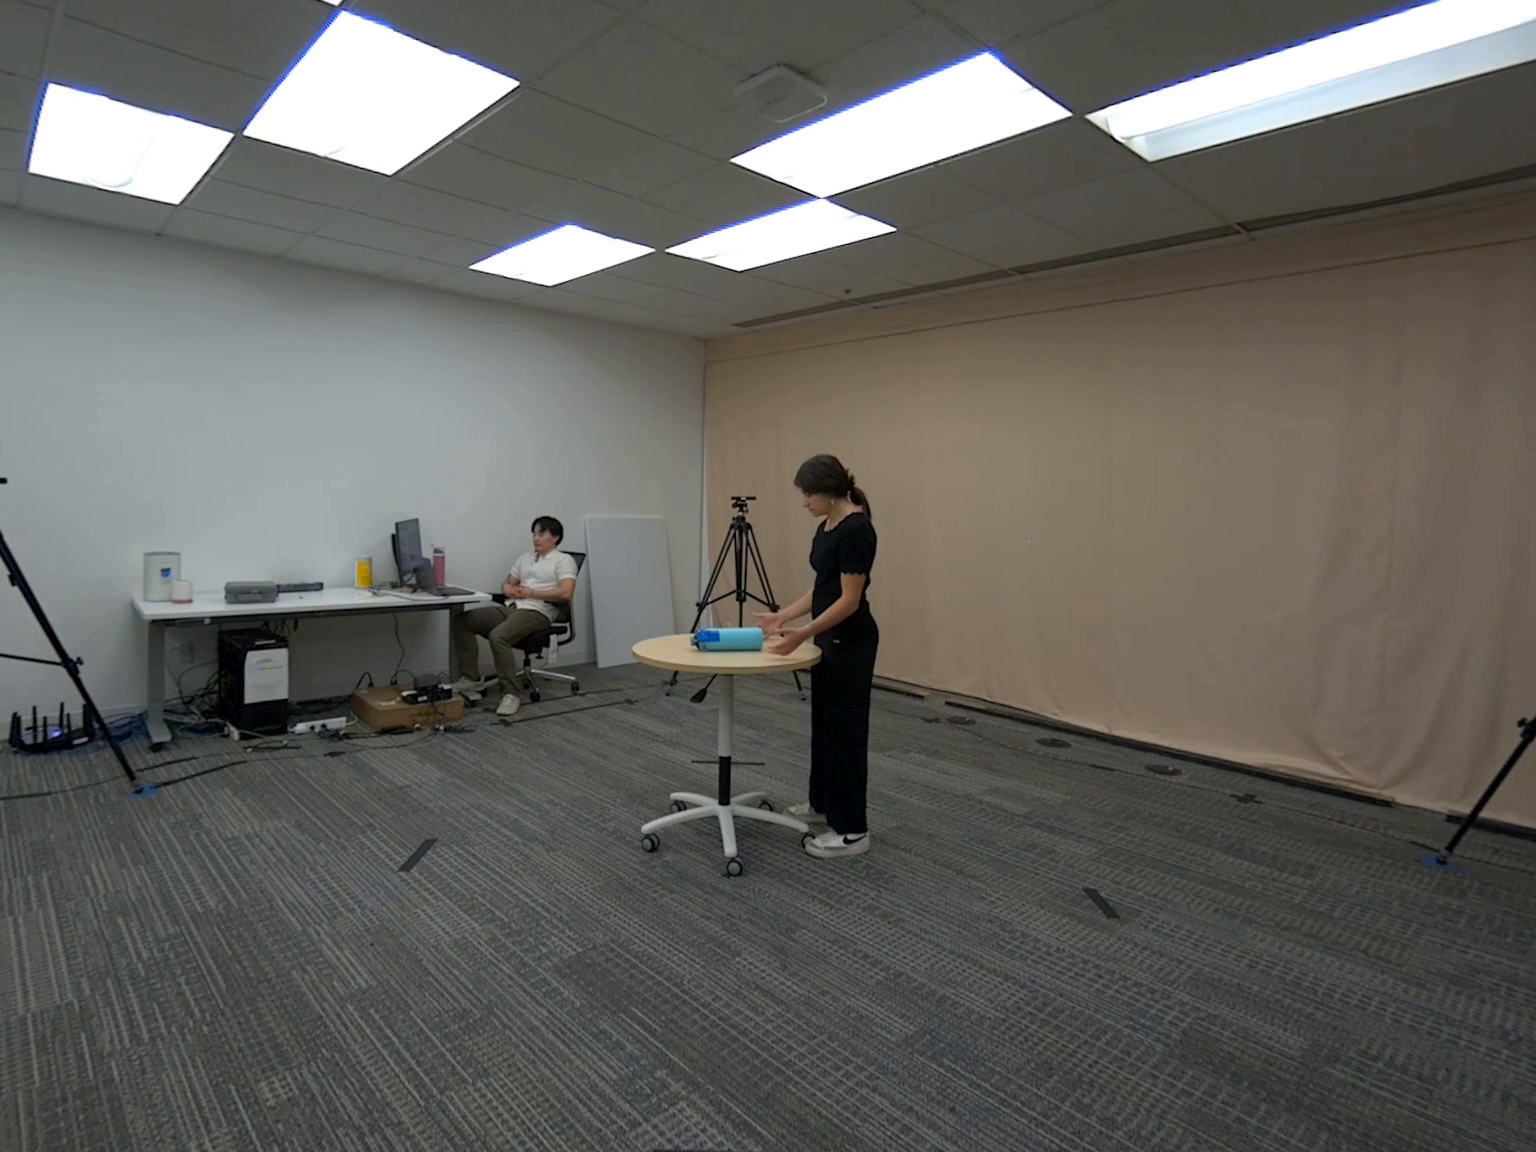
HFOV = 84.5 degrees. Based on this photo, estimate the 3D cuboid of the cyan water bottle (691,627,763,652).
[{"bbox_3d":[-0.175,0.252,3.366,0.280,0.092,0.093,0,4,-13],"label":"cyan water bottle"}]
